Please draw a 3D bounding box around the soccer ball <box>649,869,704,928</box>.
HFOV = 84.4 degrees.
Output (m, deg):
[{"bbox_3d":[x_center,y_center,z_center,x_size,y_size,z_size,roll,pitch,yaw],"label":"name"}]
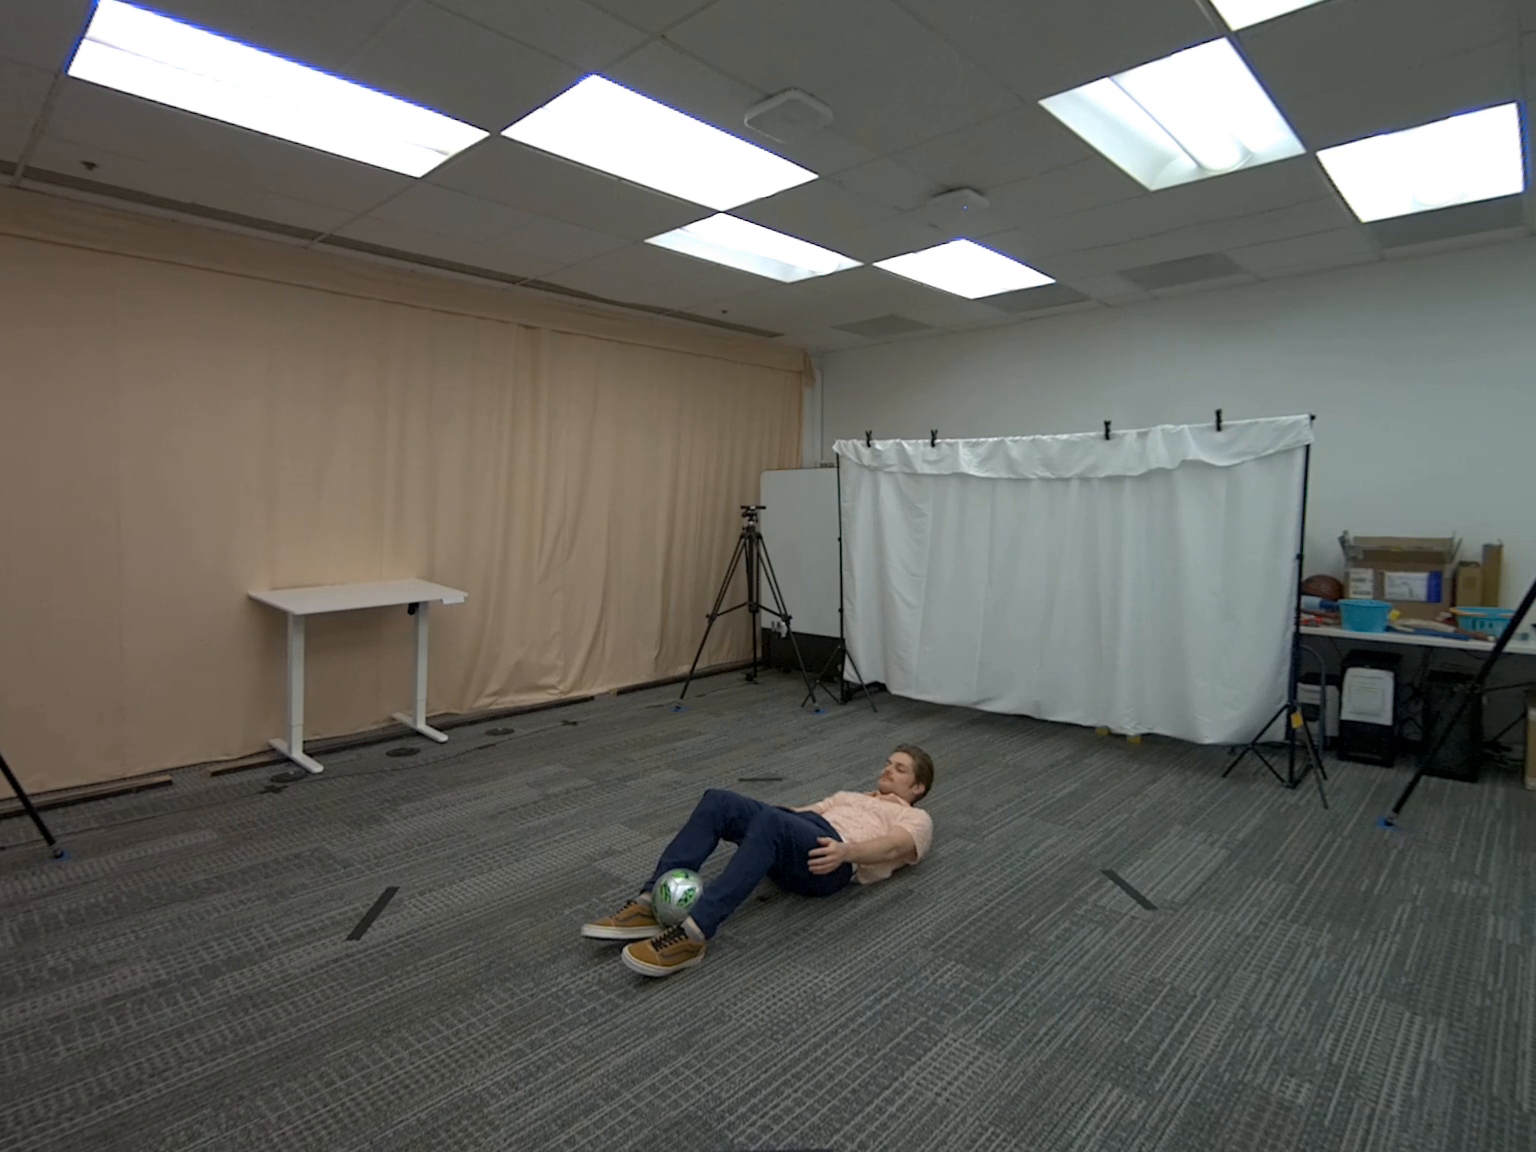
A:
[{"bbox_3d":[-0.272,1.024,2.683,0.187,0.187,0.188,0,4,-2],"label":"soccer ball"}]
